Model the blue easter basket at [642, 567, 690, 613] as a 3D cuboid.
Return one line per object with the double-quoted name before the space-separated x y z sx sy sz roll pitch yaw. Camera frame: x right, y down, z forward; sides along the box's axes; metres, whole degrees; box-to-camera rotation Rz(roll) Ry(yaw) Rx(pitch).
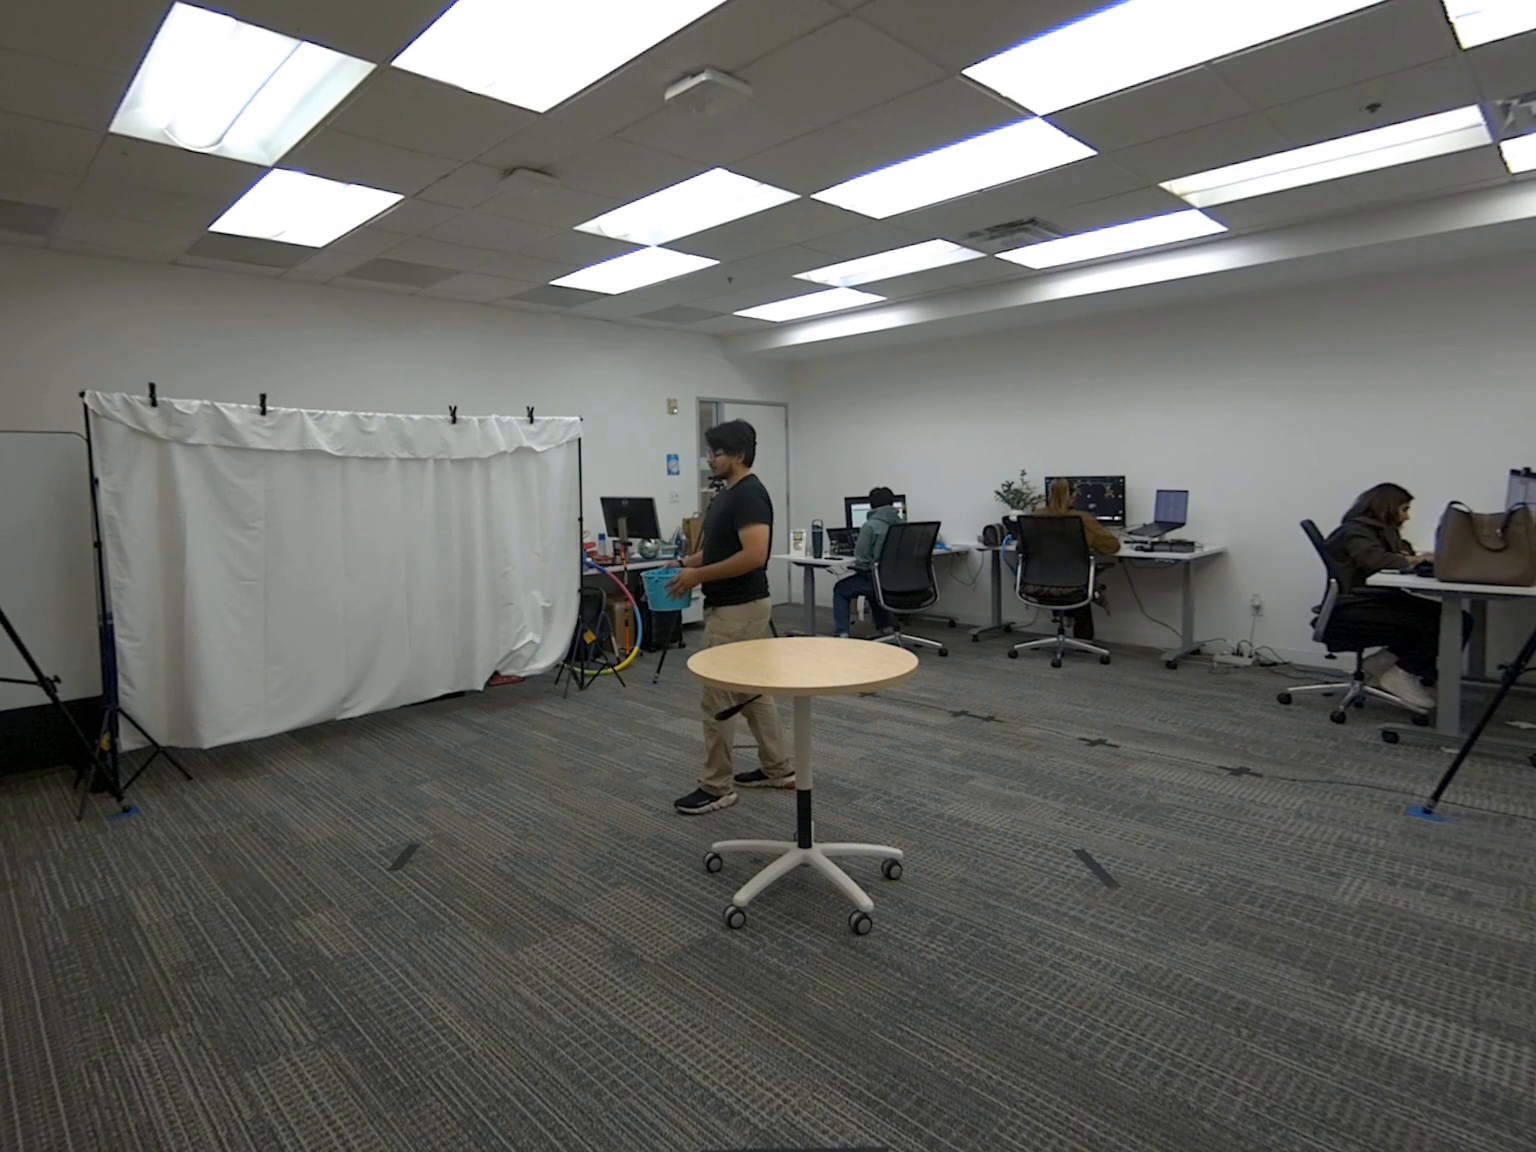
"blue easter basket" -0.431 0.056 3.710 0.243 0.155 0.244 -2 4 -2
